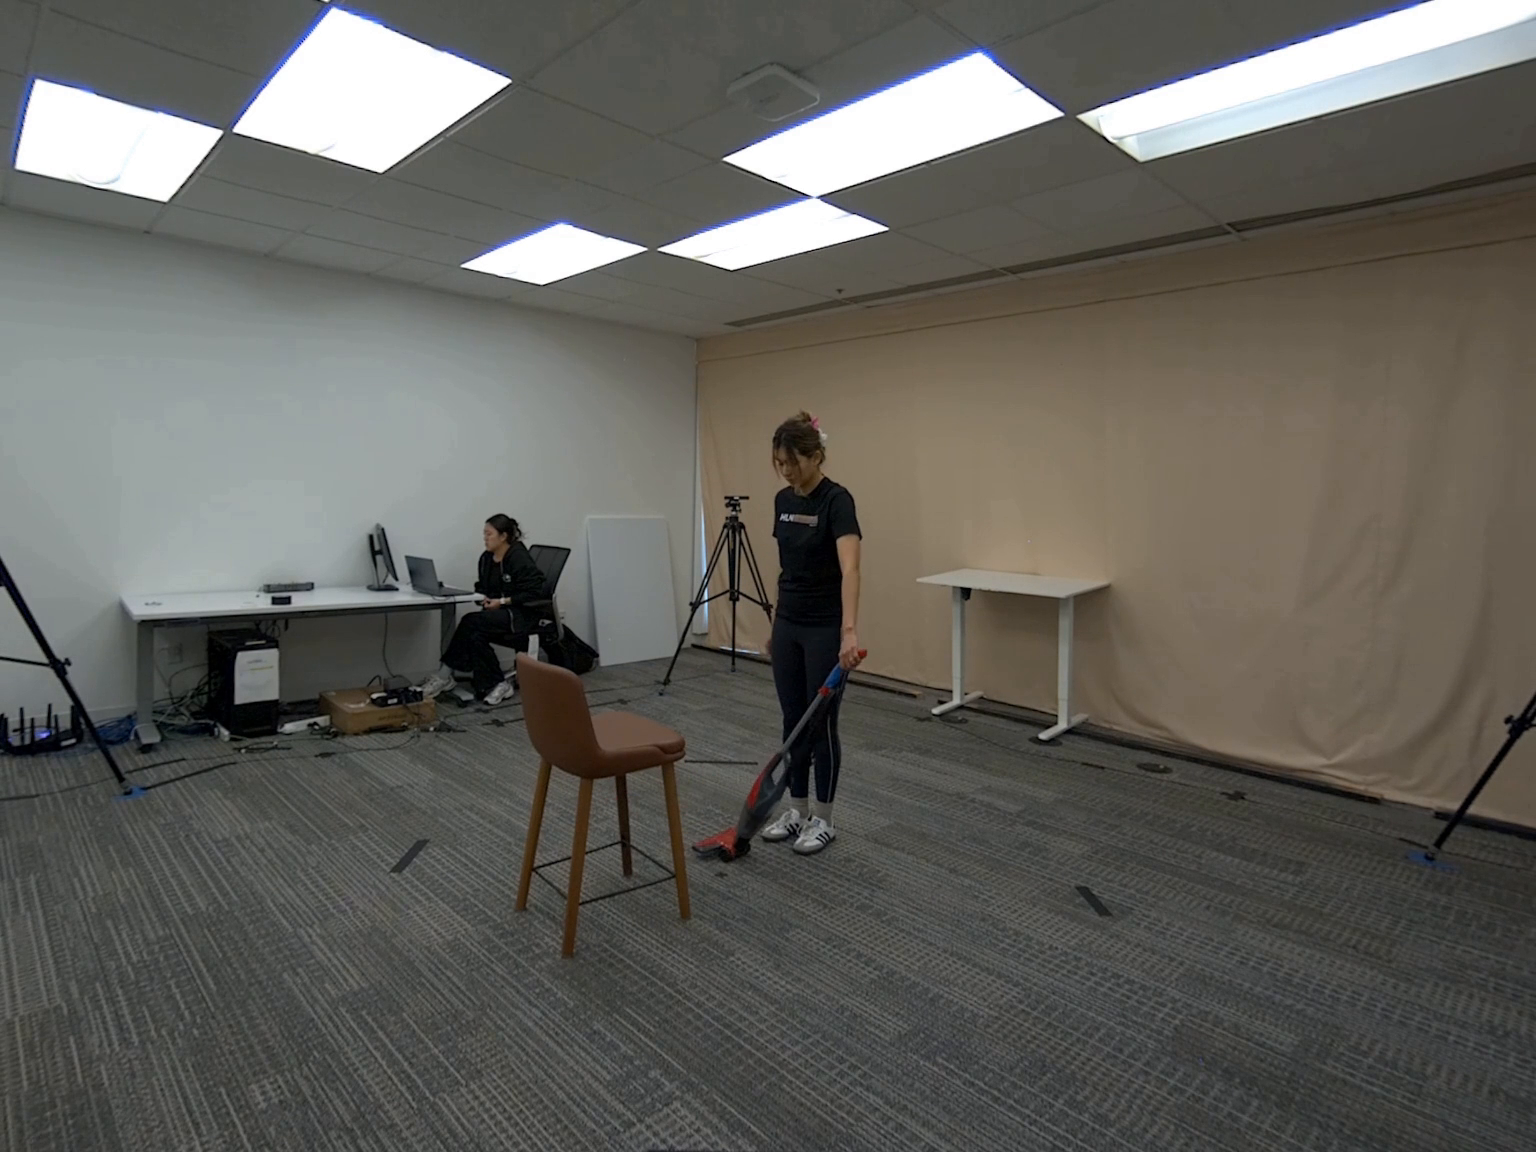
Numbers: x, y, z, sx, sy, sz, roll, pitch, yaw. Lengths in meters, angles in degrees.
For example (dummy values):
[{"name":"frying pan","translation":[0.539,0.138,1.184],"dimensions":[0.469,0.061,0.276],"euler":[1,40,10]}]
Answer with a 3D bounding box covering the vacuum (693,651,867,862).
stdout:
[{"name":"vacuum","translation":[0.073,0.675,3.066],"dimensions":[0.247,1.044,0.148],"euler":[-3,44,-50]}]
